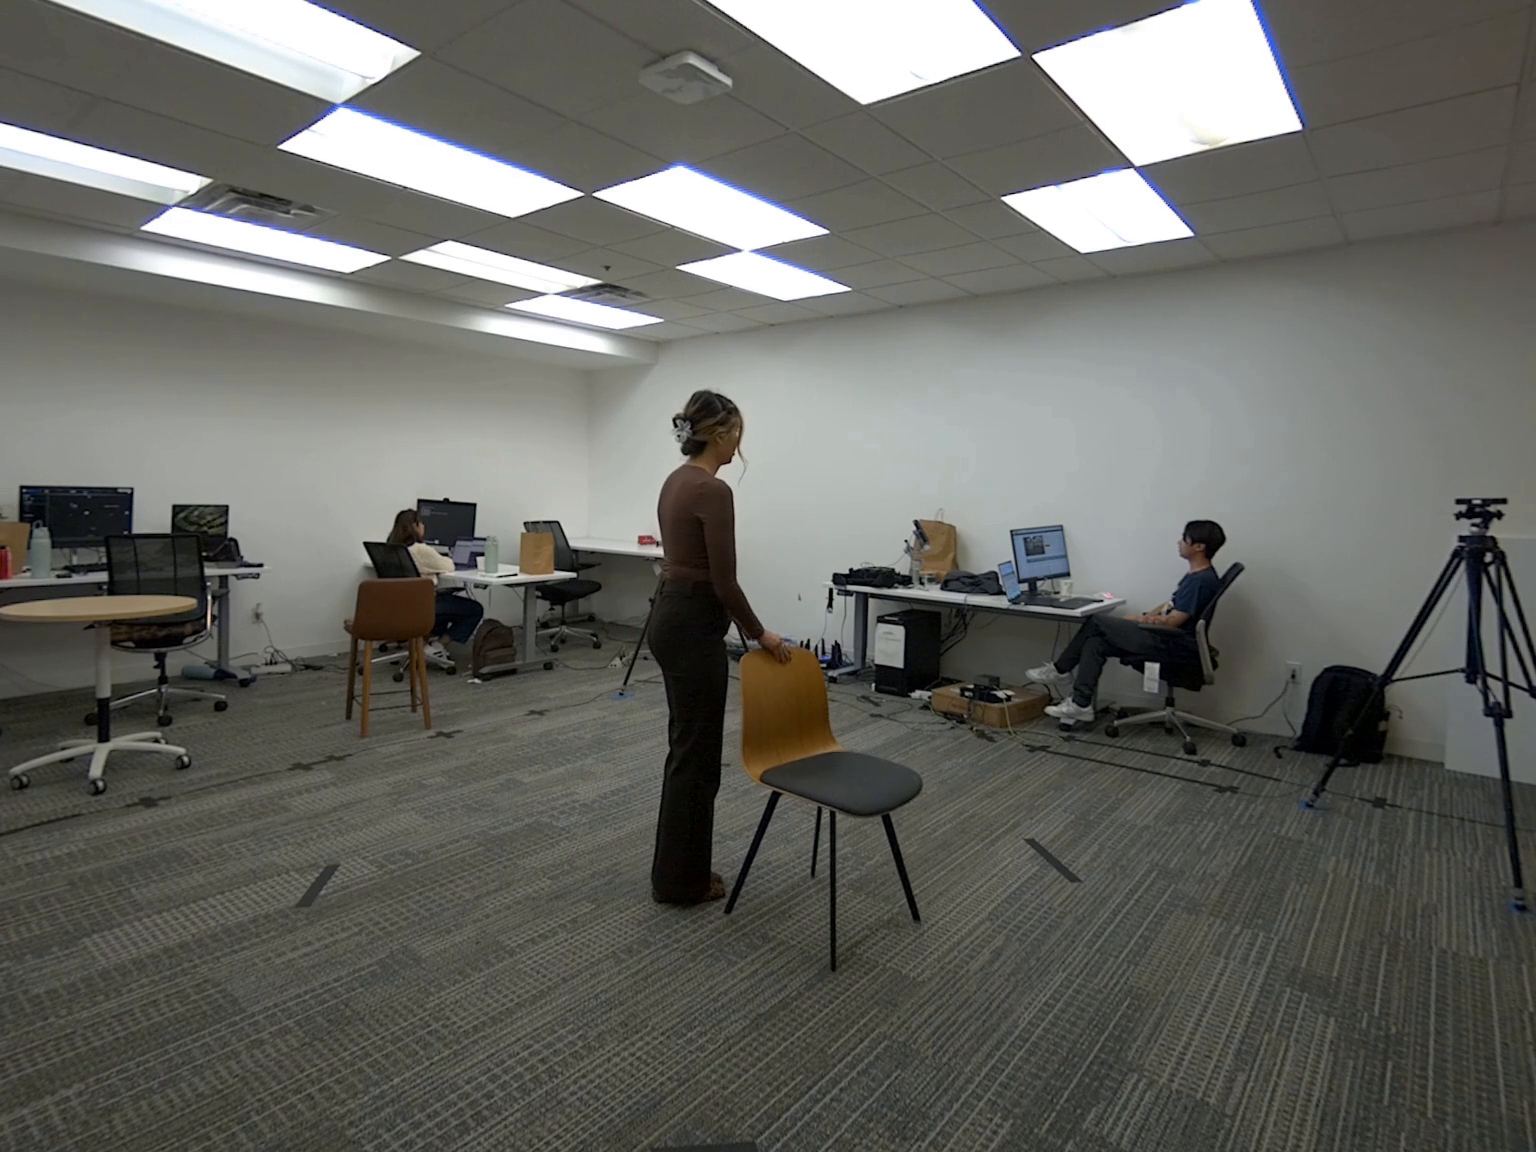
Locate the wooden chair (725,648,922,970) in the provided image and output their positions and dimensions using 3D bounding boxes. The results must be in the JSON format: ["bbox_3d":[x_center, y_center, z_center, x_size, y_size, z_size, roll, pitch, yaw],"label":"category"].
[{"bbox_3d":[0.185,0.688,2.734,0.463,0.878,0.539,-1,0,-44],"label":"wooden chair"}]
